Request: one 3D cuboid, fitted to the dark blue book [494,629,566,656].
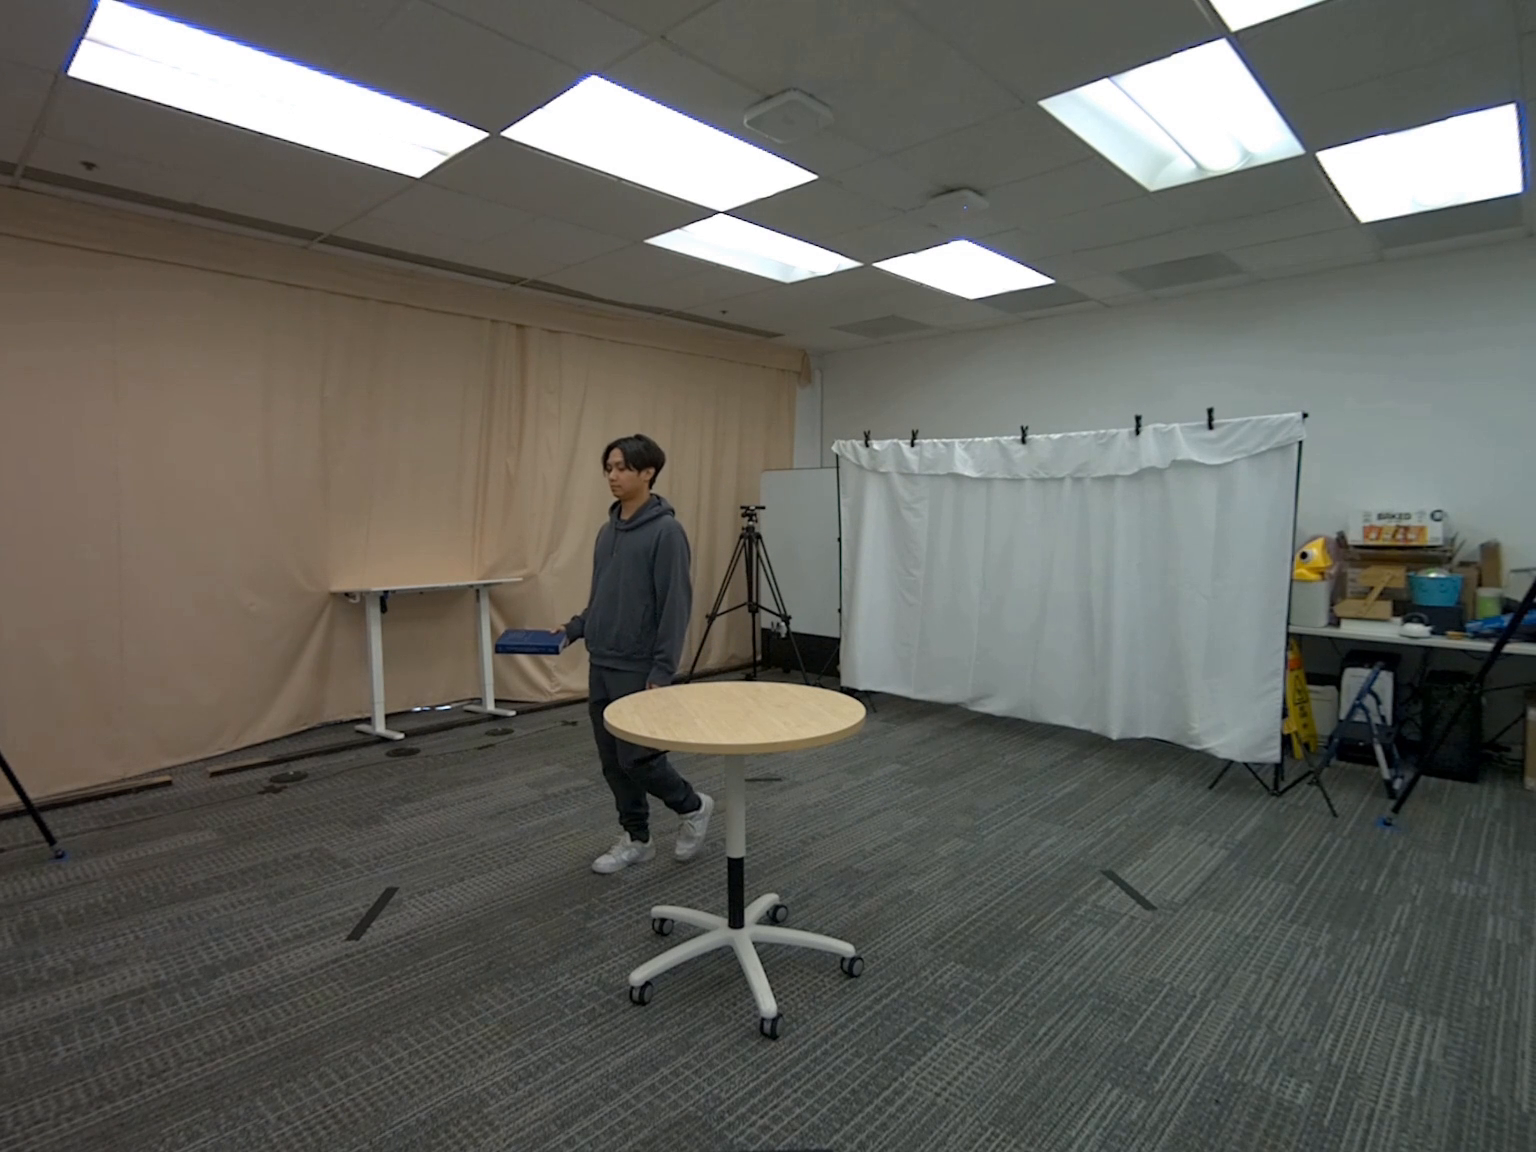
[{"bbox_3d":[-0.902,0.251,3.224,0.245,0.045,0.165,1,13,0],"label":"dark blue book"}]
